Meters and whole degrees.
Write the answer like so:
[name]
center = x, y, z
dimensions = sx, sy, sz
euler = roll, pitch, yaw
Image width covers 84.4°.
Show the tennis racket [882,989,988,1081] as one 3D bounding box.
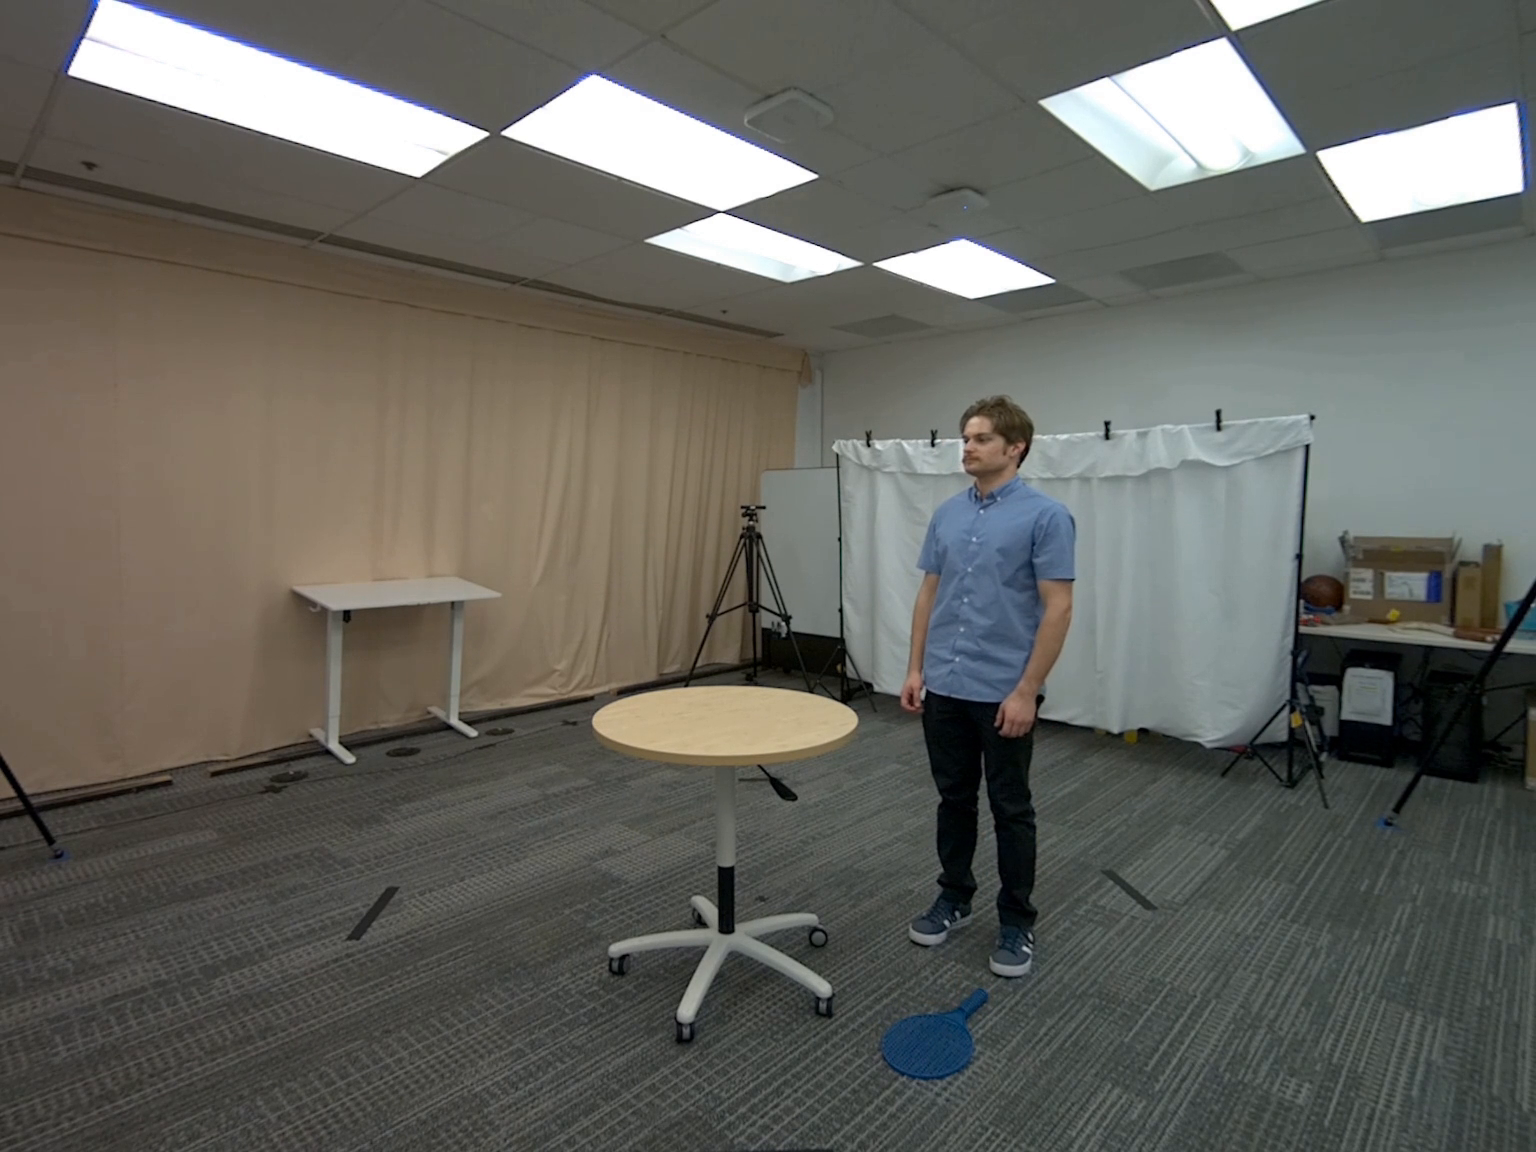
[tennis racket]
center = 0.472, 1.197, 2.216
dimensions = 0.221, 0.031, 0.420
euler = 4, 7, 42
